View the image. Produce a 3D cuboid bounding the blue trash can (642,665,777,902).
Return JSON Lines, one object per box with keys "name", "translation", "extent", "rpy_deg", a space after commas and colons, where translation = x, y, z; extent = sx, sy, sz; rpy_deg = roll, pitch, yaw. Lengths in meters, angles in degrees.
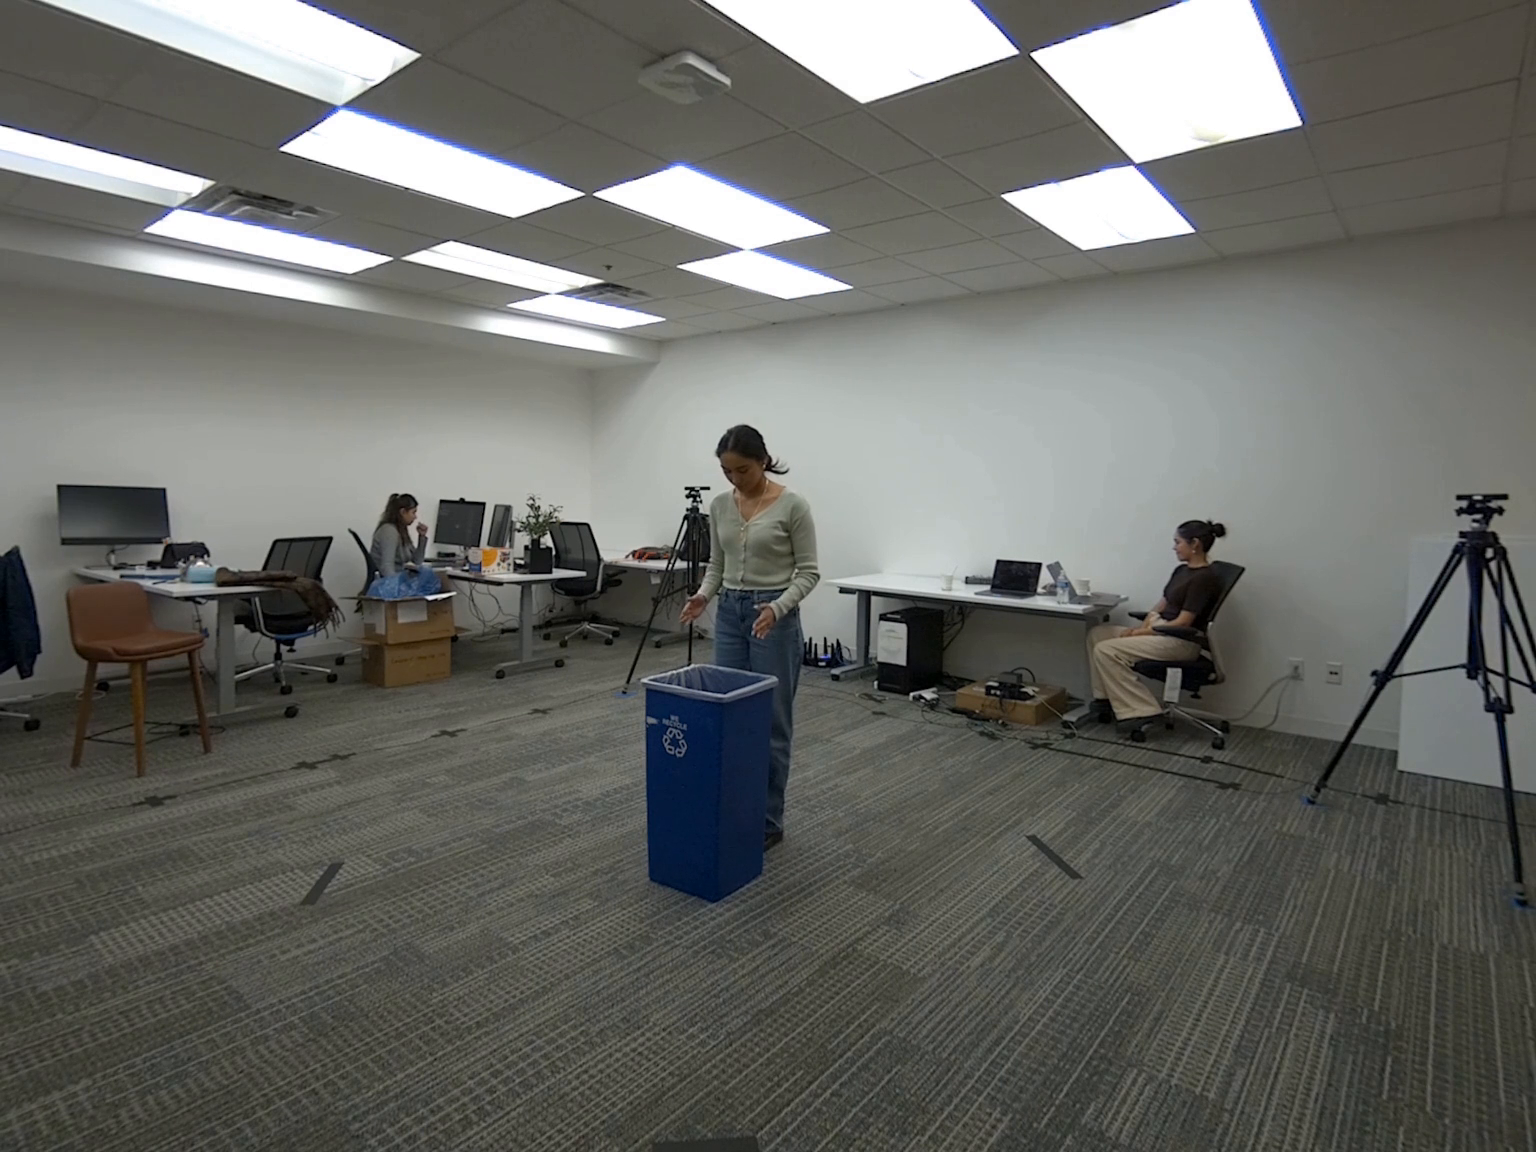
{"name": "blue trash can", "translation": [-0.218, 0.713, 3.024], "extent": [0.386, 0.712, 0.367], "rpy_deg": [2, 4, 33]}
